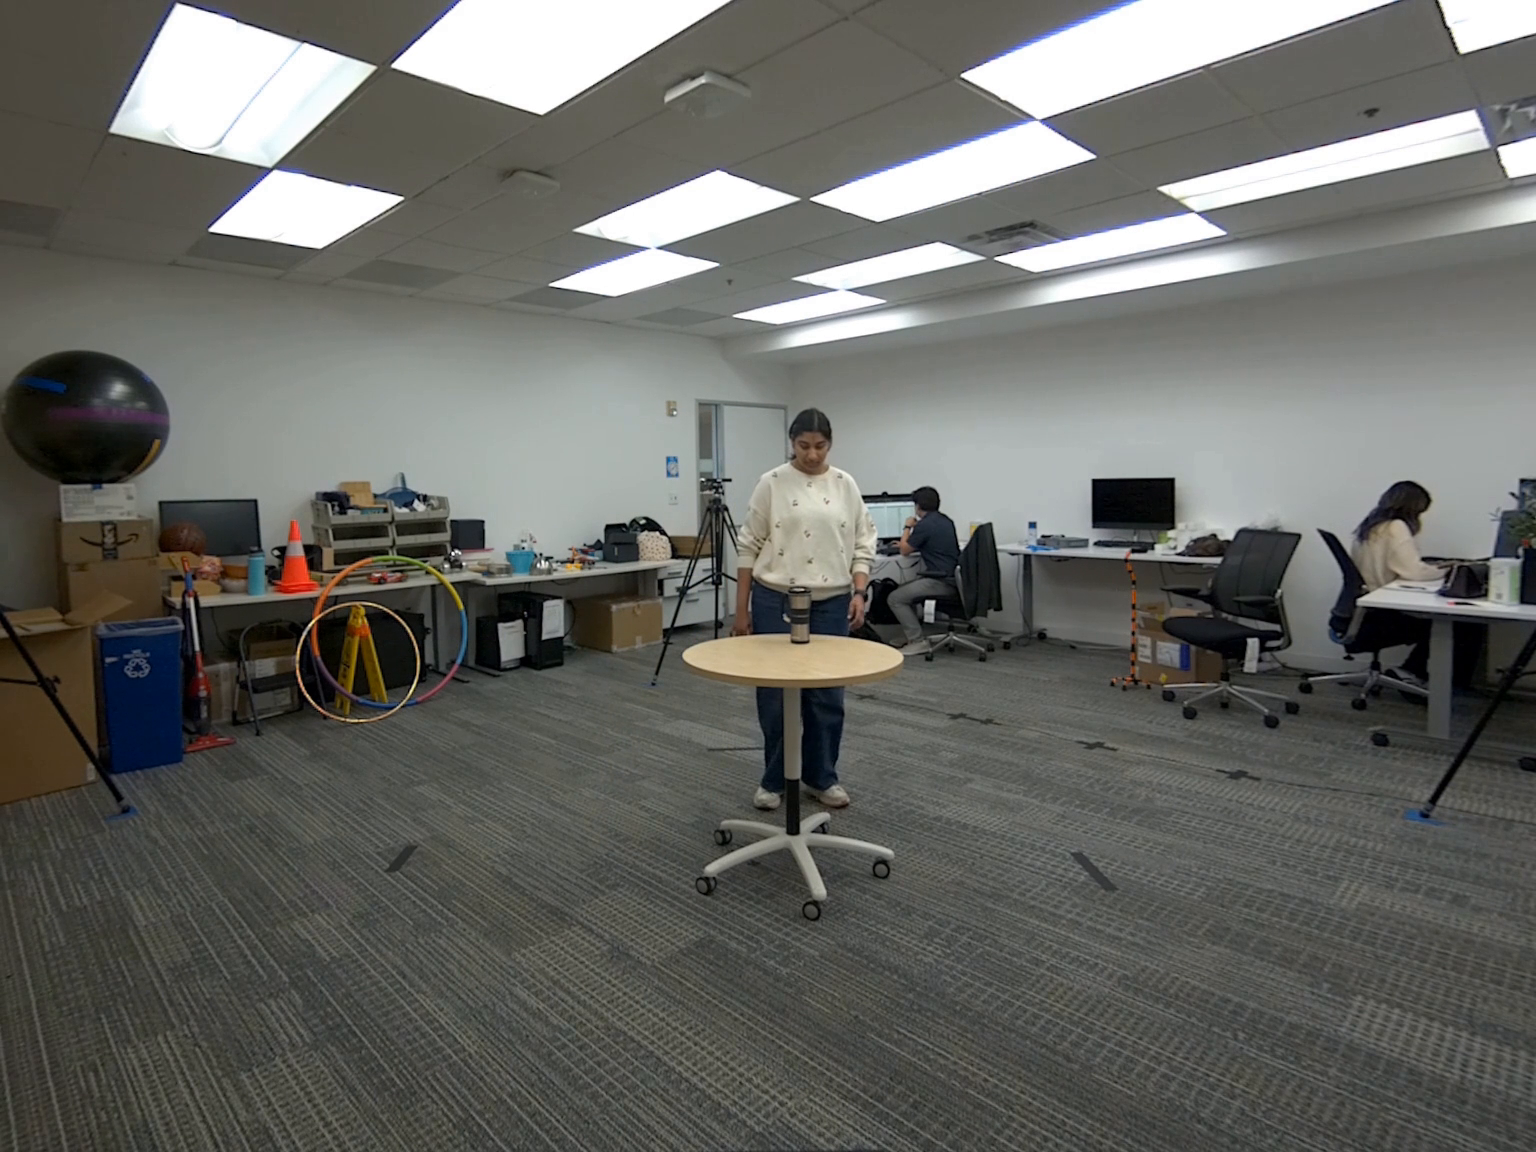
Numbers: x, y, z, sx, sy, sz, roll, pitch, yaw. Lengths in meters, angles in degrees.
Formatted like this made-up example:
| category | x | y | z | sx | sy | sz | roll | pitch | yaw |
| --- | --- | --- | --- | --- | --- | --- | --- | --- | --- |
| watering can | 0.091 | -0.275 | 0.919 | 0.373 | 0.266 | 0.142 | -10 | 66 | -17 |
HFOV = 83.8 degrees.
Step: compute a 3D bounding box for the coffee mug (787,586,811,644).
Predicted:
| category | x | y | z | sx | sy | sz | roll | pitch | yaw |
| --- | --- | --- | --- | --- | --- | --- | --- | --- | --- |
| coffee mug | 0.109 | 0.150 | 3.206 | 0.086 | 0.201 | 0.126 | -3 | 9 | -33 |
